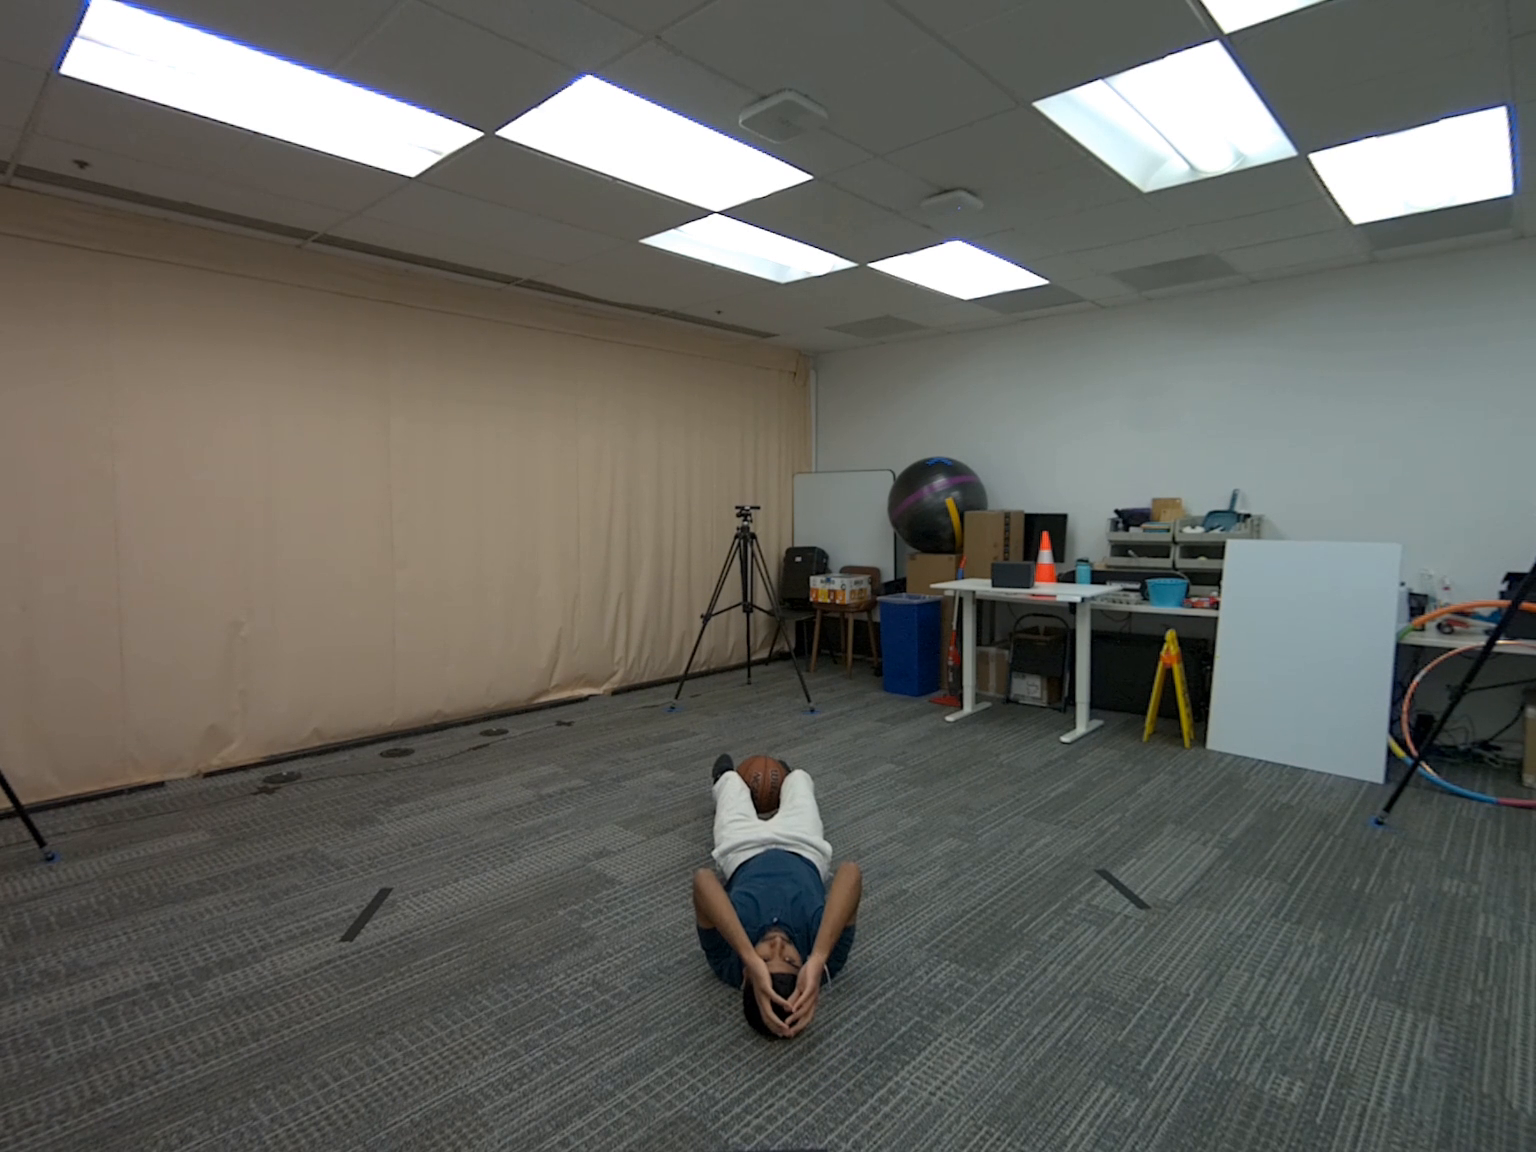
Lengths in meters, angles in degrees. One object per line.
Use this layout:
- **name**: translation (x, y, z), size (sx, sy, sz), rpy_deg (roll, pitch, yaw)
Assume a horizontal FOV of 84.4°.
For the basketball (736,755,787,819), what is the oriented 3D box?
- **basketball**: translation (-0.032, 0.876, 3.567), size (0.236, 0.235, 0.237), rpy_deg (0, 4, -2)
